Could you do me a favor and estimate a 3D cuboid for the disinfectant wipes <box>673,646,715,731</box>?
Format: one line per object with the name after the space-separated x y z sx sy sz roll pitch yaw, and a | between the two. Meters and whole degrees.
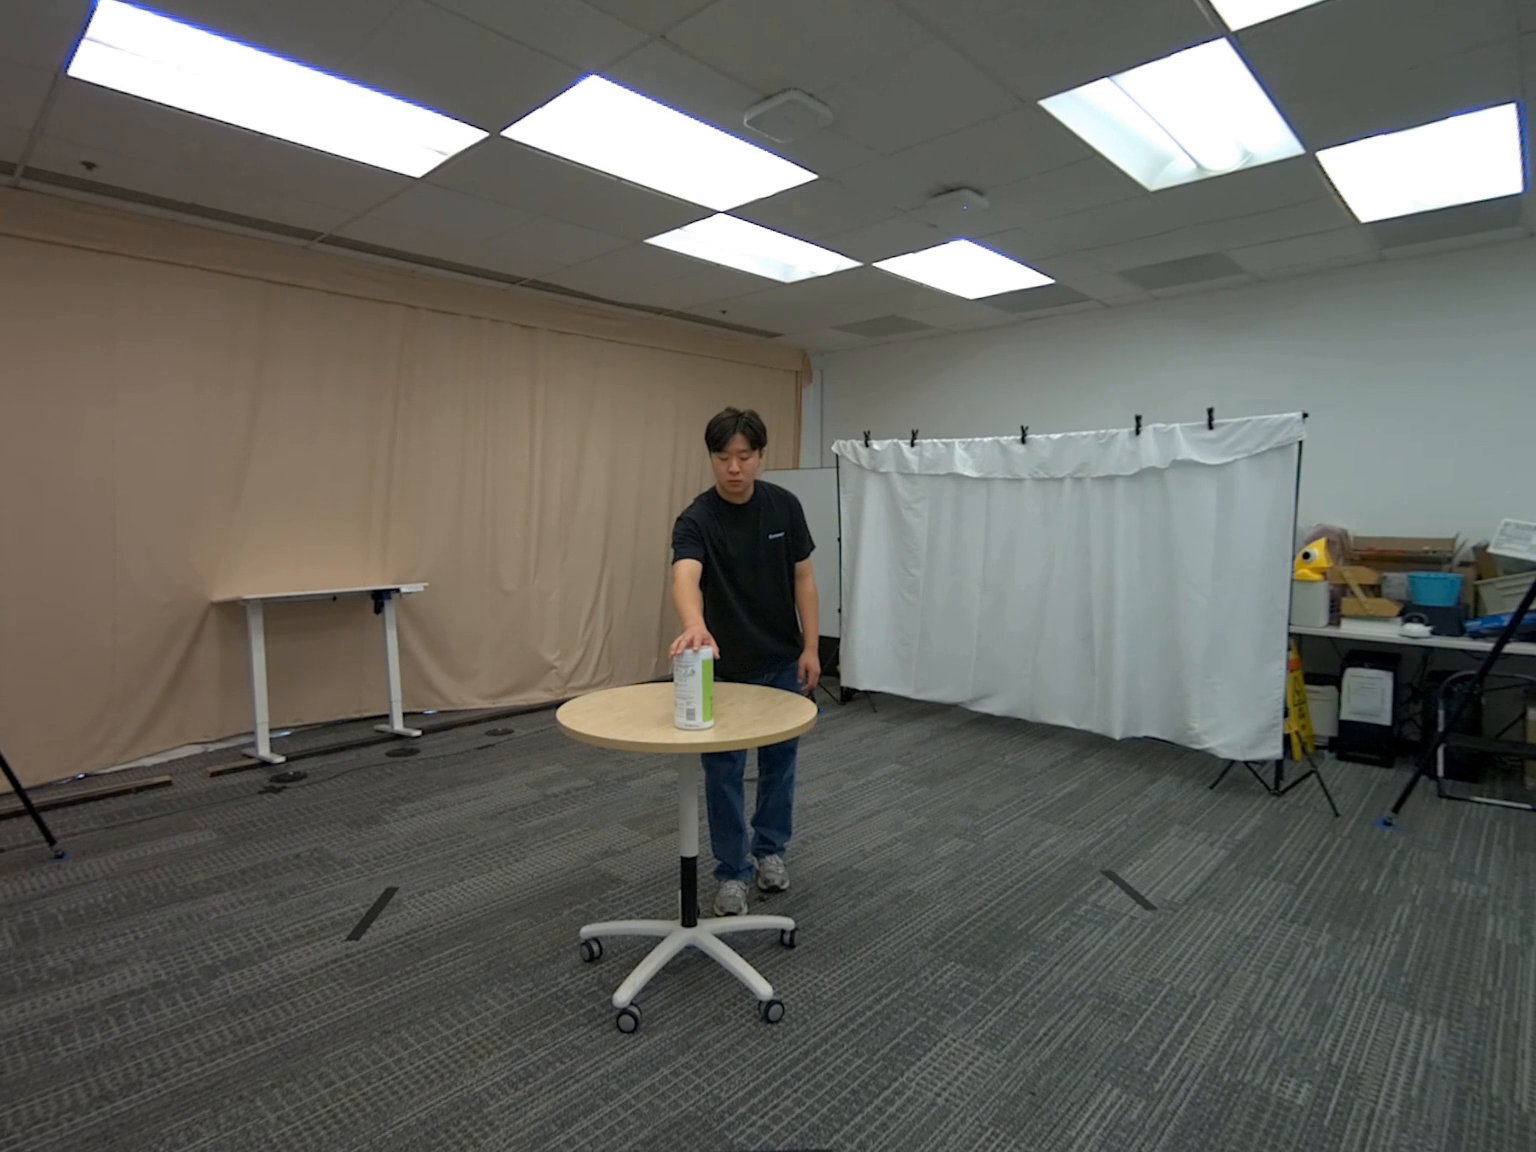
-0.200 0.300 2.276 0.118 0.217 0.118 0 2 -2 | disinfectant wipes
